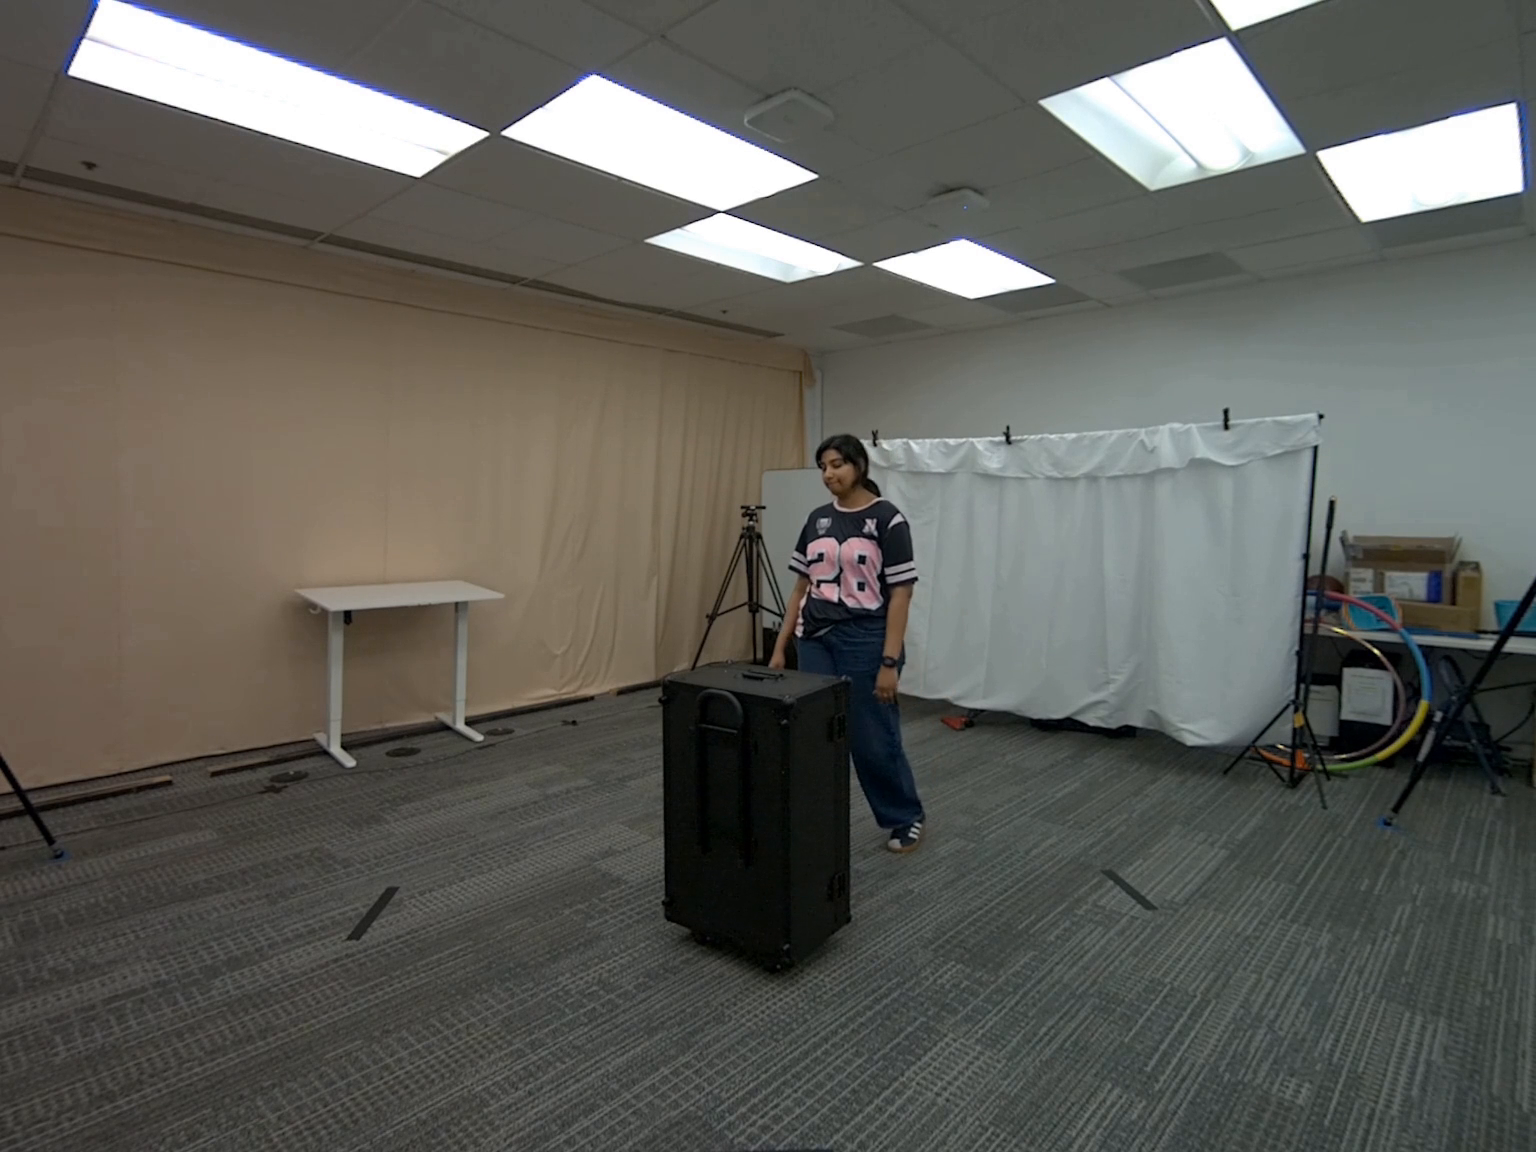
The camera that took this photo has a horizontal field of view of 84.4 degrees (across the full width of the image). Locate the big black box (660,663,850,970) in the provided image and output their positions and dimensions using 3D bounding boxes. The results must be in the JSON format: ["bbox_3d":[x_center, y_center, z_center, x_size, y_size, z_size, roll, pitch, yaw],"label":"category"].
[{"bbox_3d":[-0.032,0.751,2.653,0.540,0.866,0.374,2,4,36],"label":"big black box"}]
